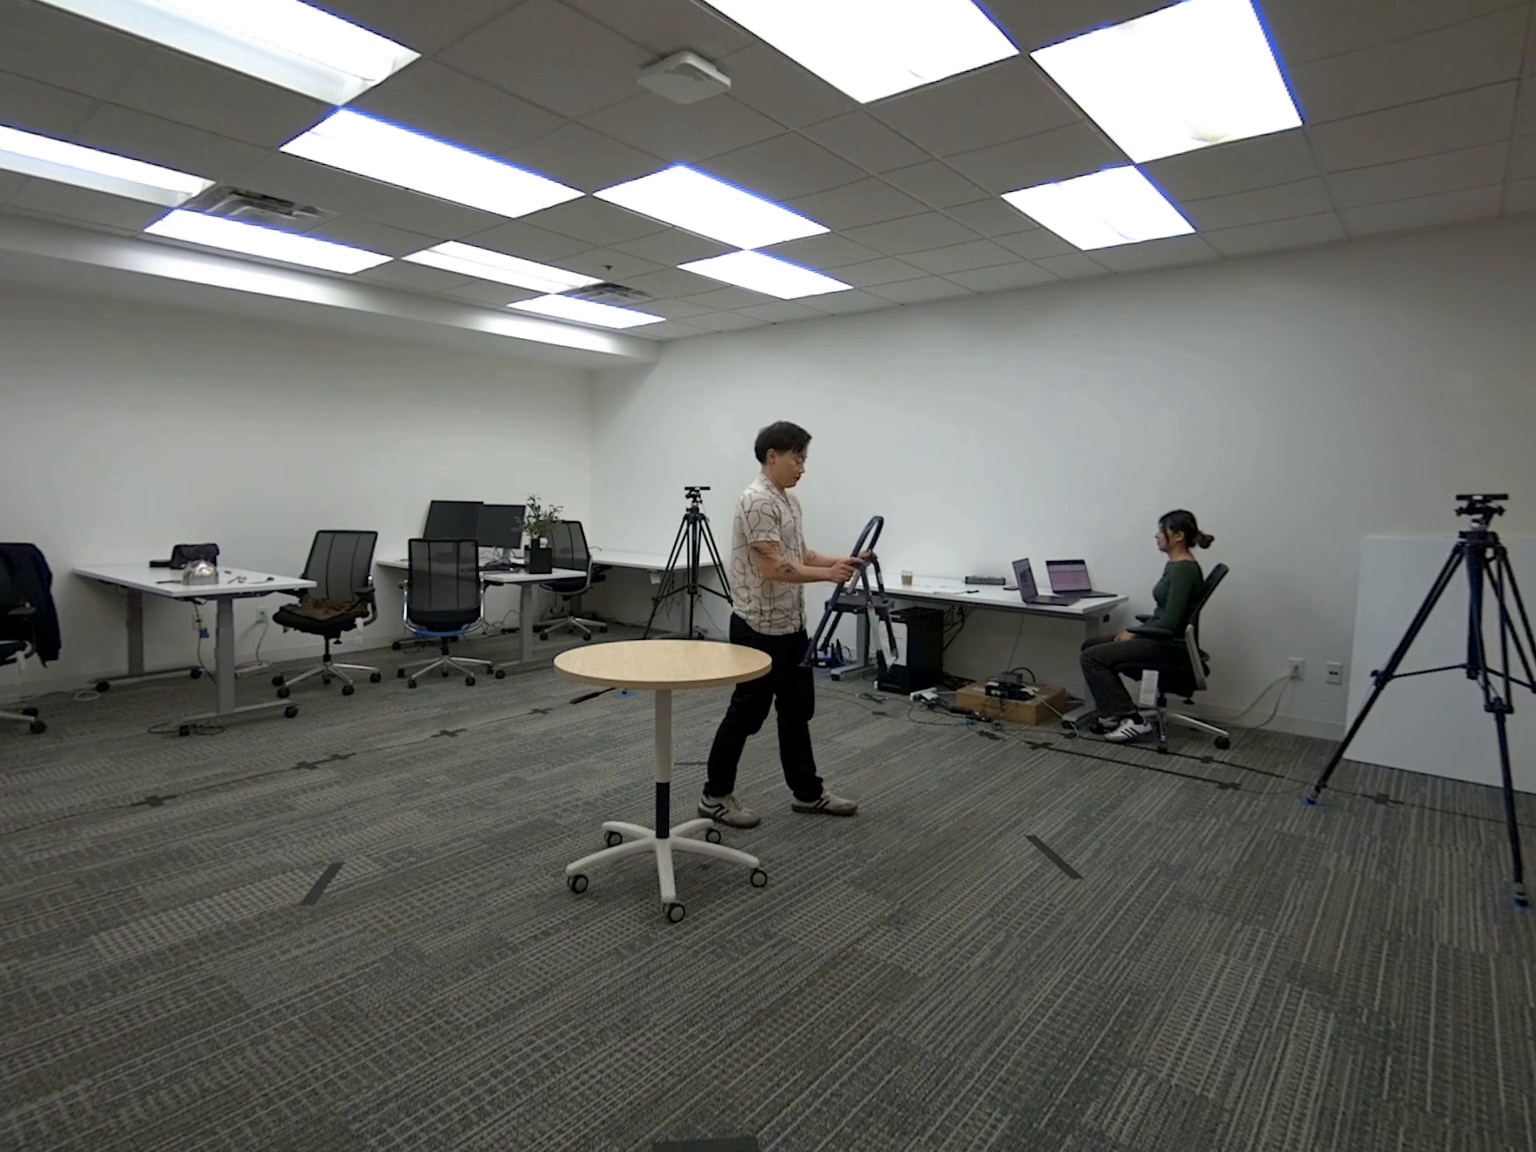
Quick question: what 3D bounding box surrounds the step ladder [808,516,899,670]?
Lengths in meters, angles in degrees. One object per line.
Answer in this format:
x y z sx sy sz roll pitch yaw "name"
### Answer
0.340 0.047 3.490 0.355 0.604 0.424 4 3 14 "step ladder"
